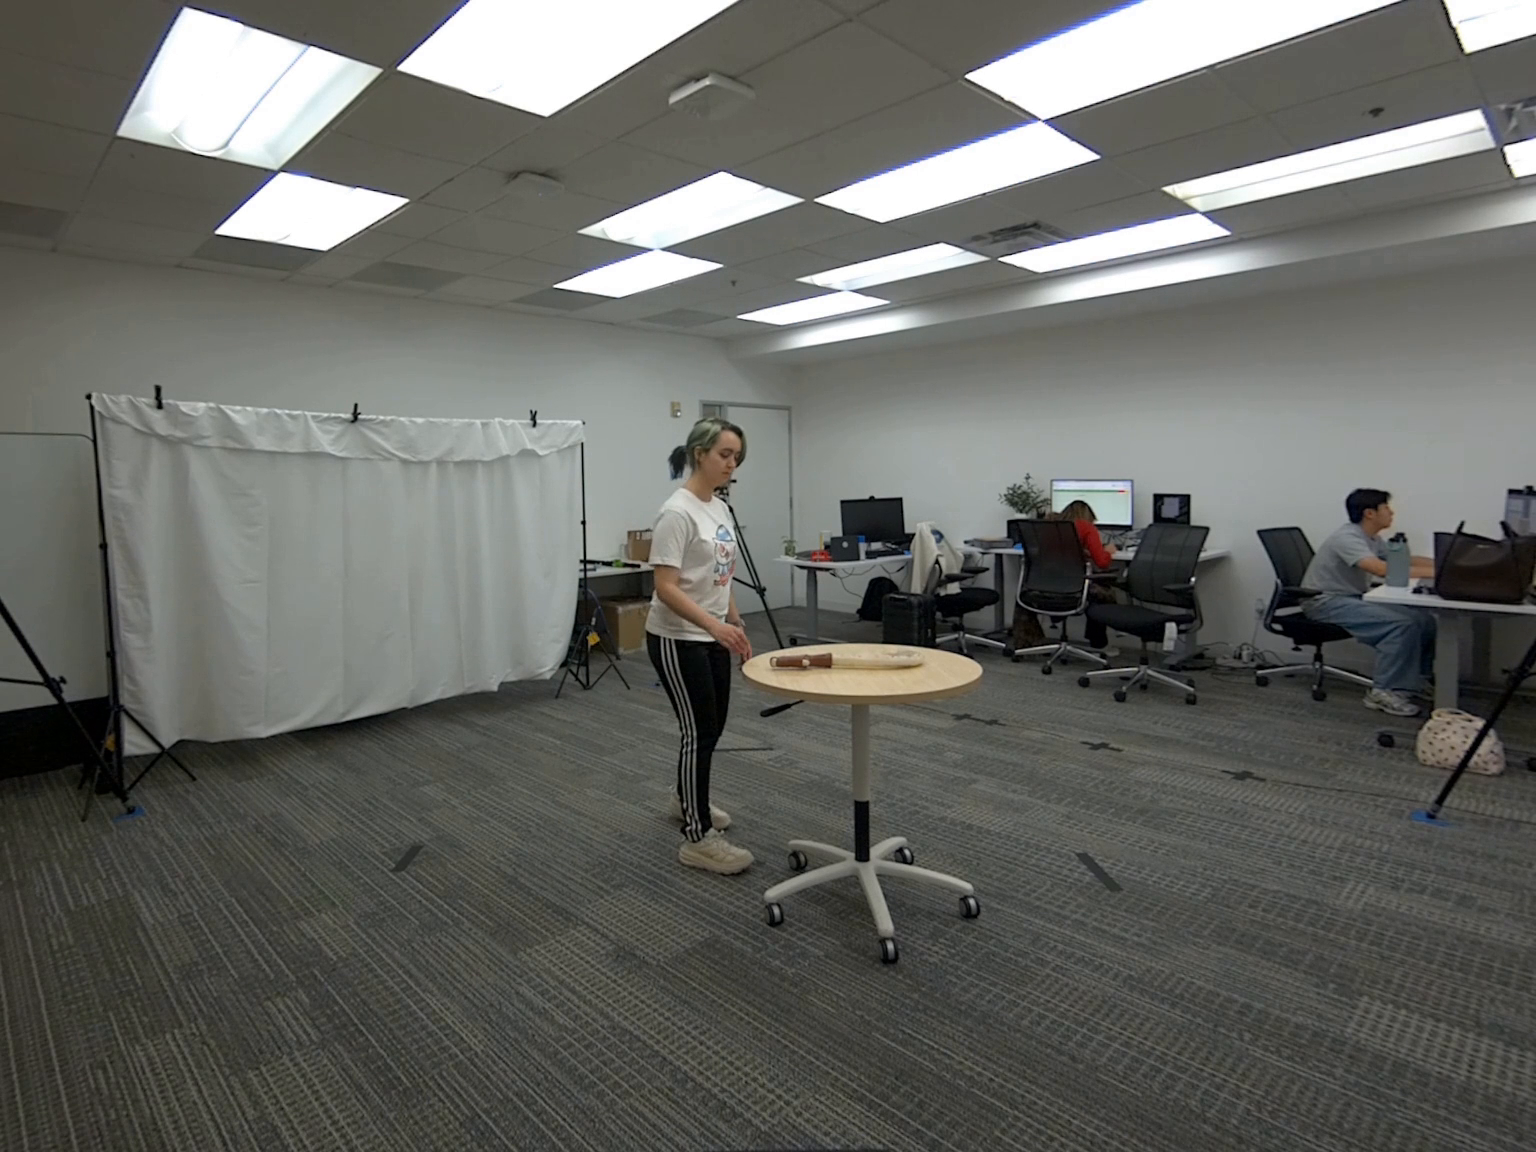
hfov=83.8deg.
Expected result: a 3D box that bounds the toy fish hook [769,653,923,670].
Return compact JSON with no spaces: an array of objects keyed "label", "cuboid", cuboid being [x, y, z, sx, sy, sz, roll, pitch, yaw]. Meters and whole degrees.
[{"label":"toy fish hook","cuboid":[0.258,0.275,2.808,0.506,0.048,0.224,-1,-1,-1]}]
